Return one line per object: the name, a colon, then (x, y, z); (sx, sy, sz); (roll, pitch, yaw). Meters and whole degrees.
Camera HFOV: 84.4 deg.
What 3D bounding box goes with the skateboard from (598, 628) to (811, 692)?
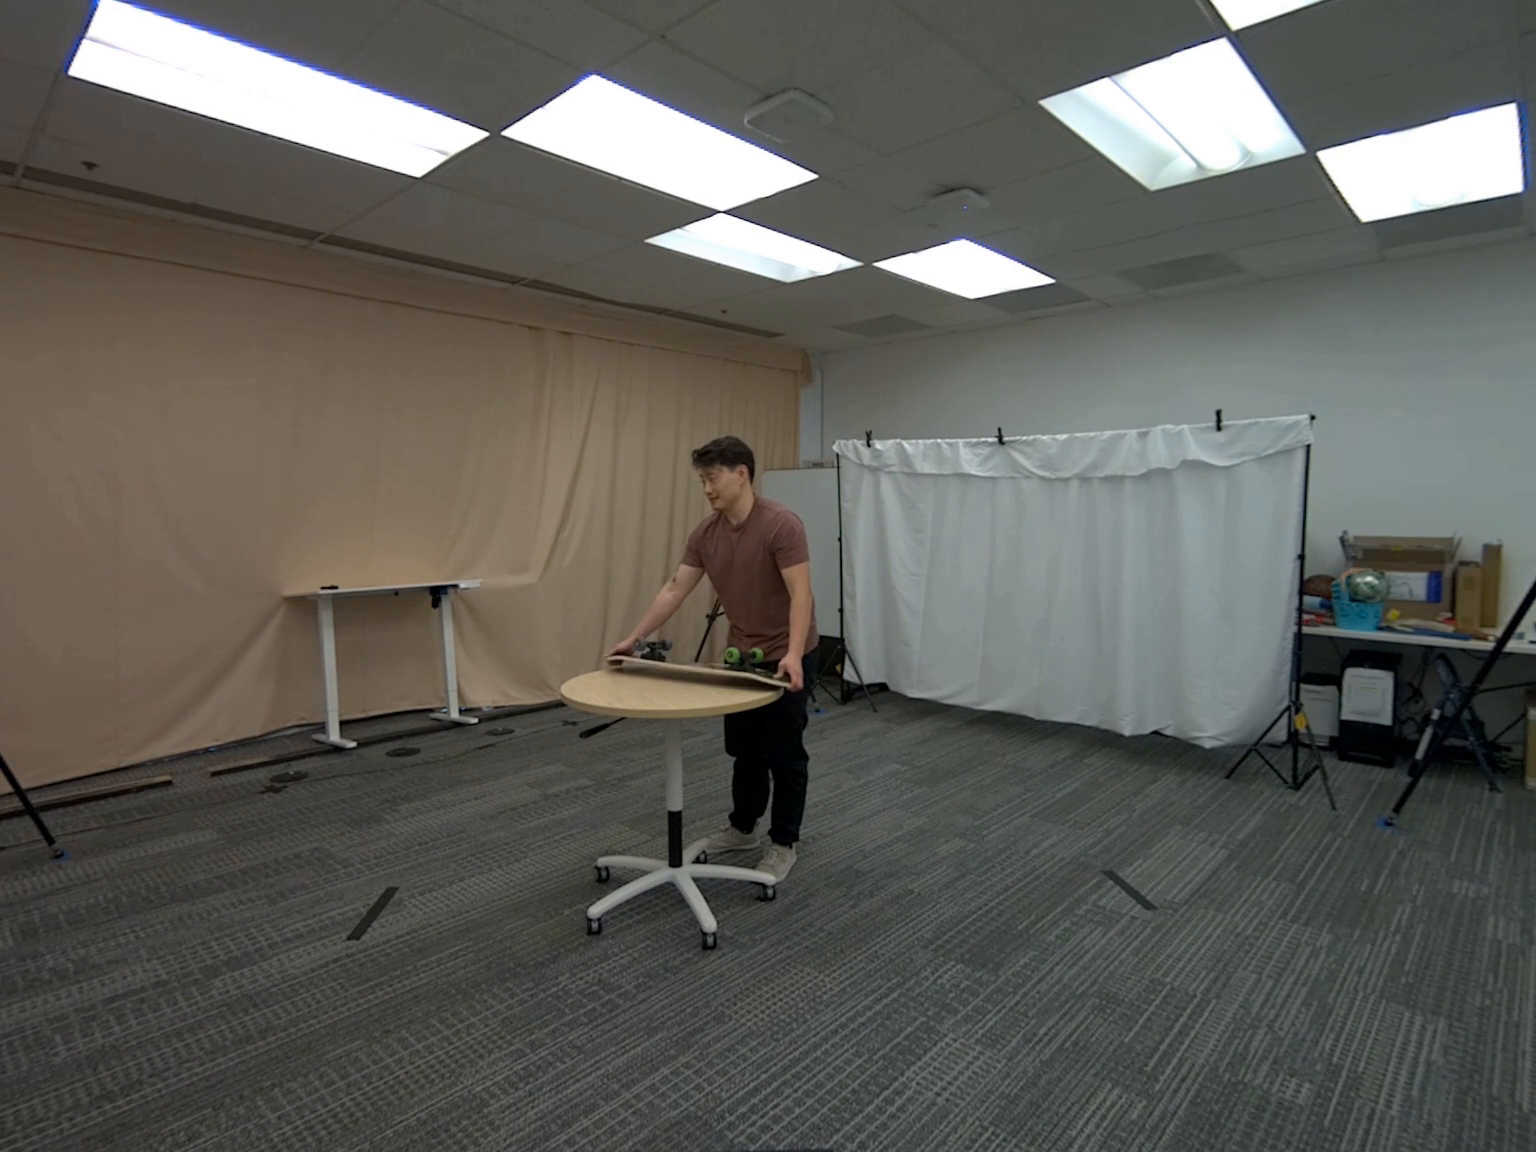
skateboard: (-0.244, 0.282, 2.991); (0.811, 0.110, 0.187); (5, 0, 35)
